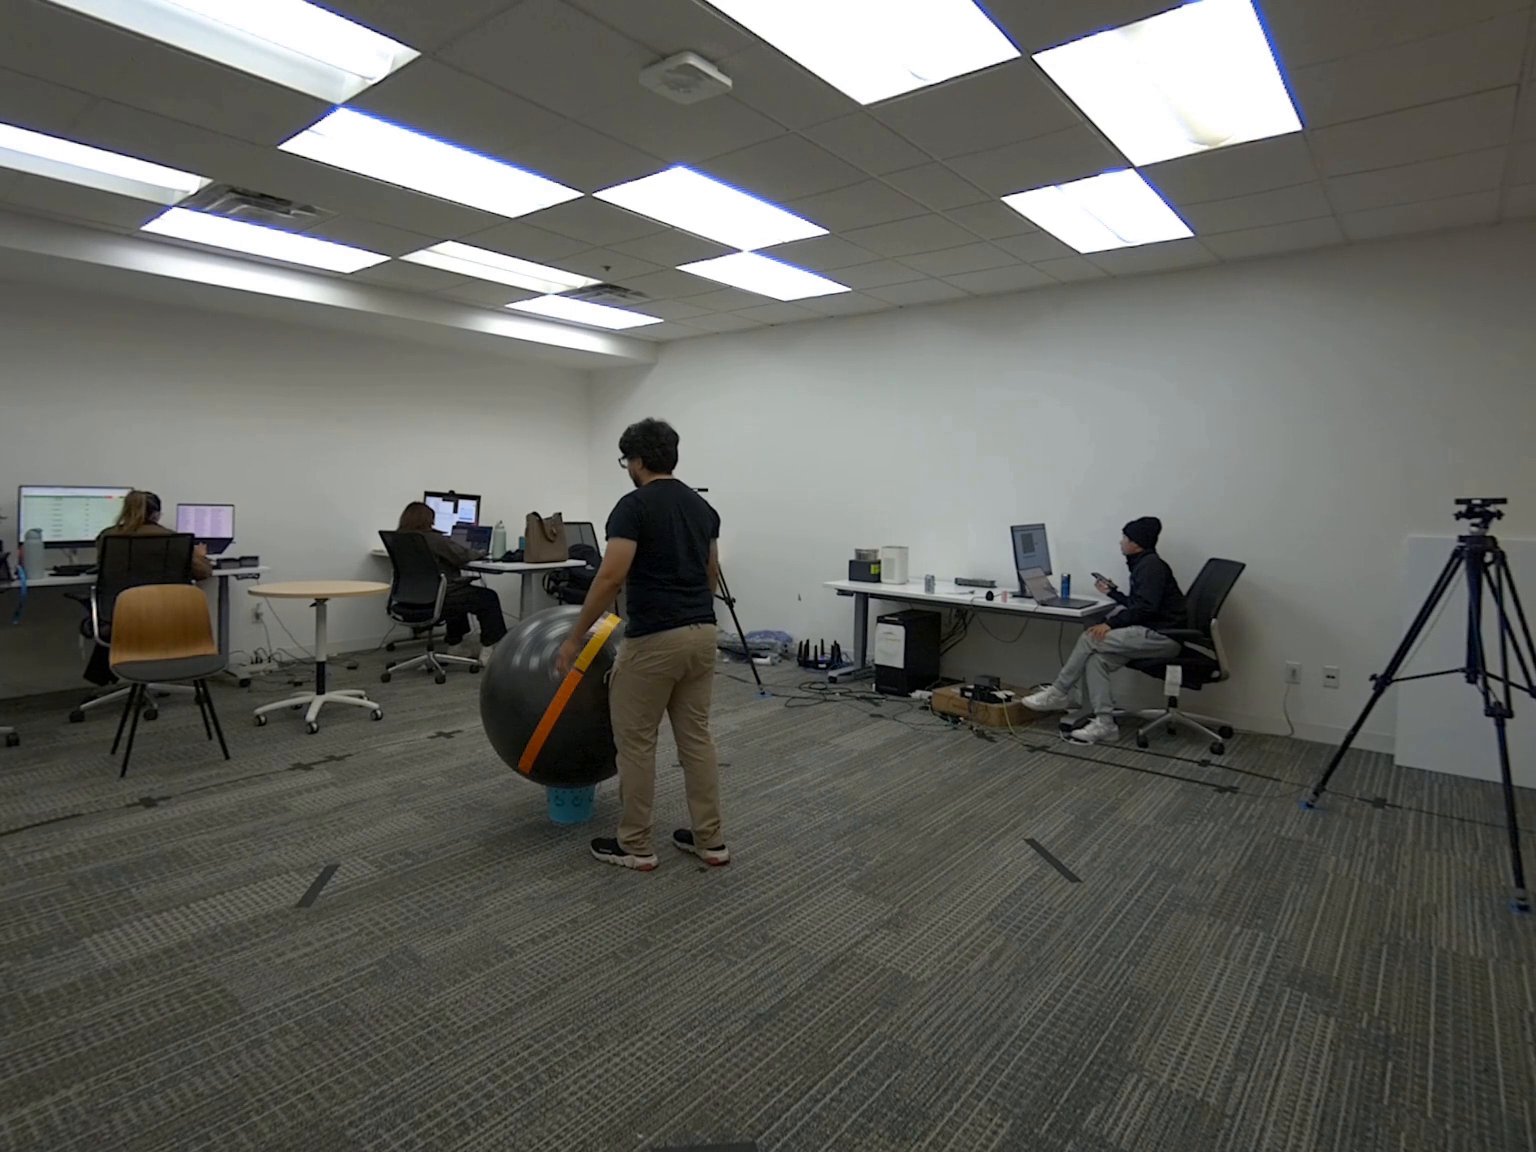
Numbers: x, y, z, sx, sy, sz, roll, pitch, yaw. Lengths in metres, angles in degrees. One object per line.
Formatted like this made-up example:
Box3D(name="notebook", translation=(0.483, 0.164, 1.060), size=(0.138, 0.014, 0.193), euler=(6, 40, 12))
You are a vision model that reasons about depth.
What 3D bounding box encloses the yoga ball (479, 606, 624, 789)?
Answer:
Box3D(name="yoga ball", translation=(-0.840, 0.502, 3.594), size=(0.757, 0.756, 0.762), euler=(1, 4, -2))
